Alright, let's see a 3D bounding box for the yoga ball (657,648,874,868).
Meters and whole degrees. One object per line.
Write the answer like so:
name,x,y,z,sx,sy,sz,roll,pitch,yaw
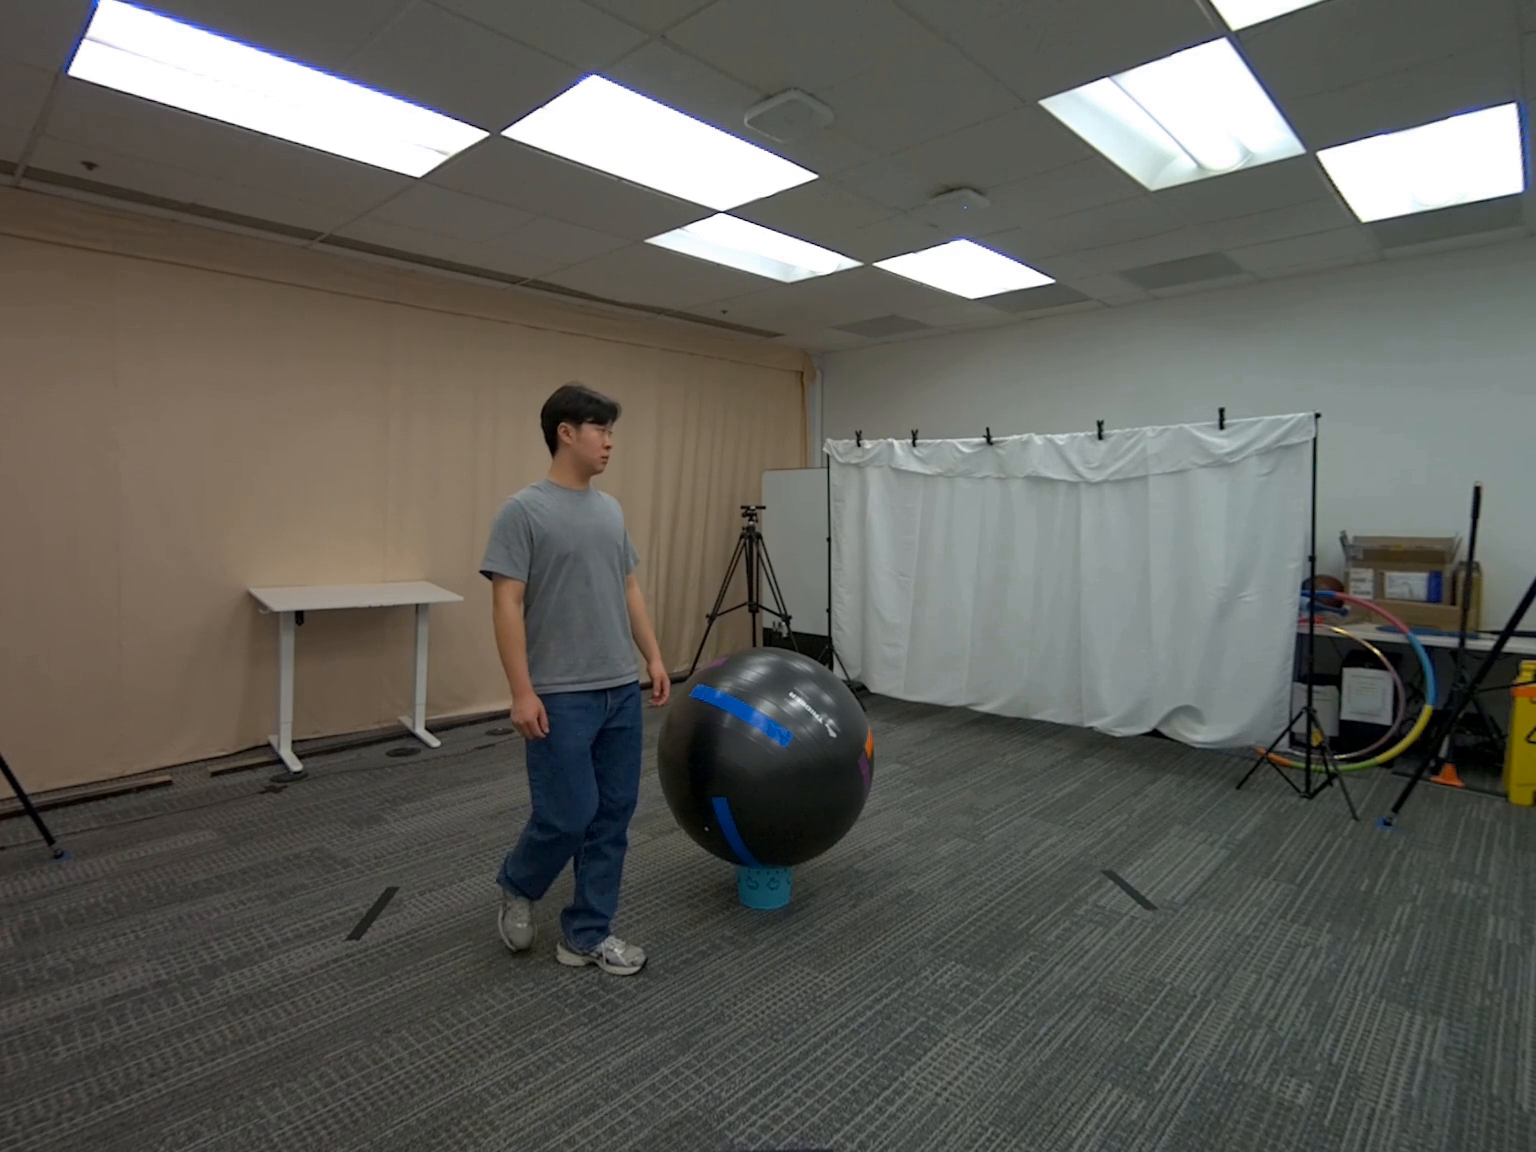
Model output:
yoga ball,-0.010,0.634,2.976,0.757,0.756,0.760,0,4,-2
